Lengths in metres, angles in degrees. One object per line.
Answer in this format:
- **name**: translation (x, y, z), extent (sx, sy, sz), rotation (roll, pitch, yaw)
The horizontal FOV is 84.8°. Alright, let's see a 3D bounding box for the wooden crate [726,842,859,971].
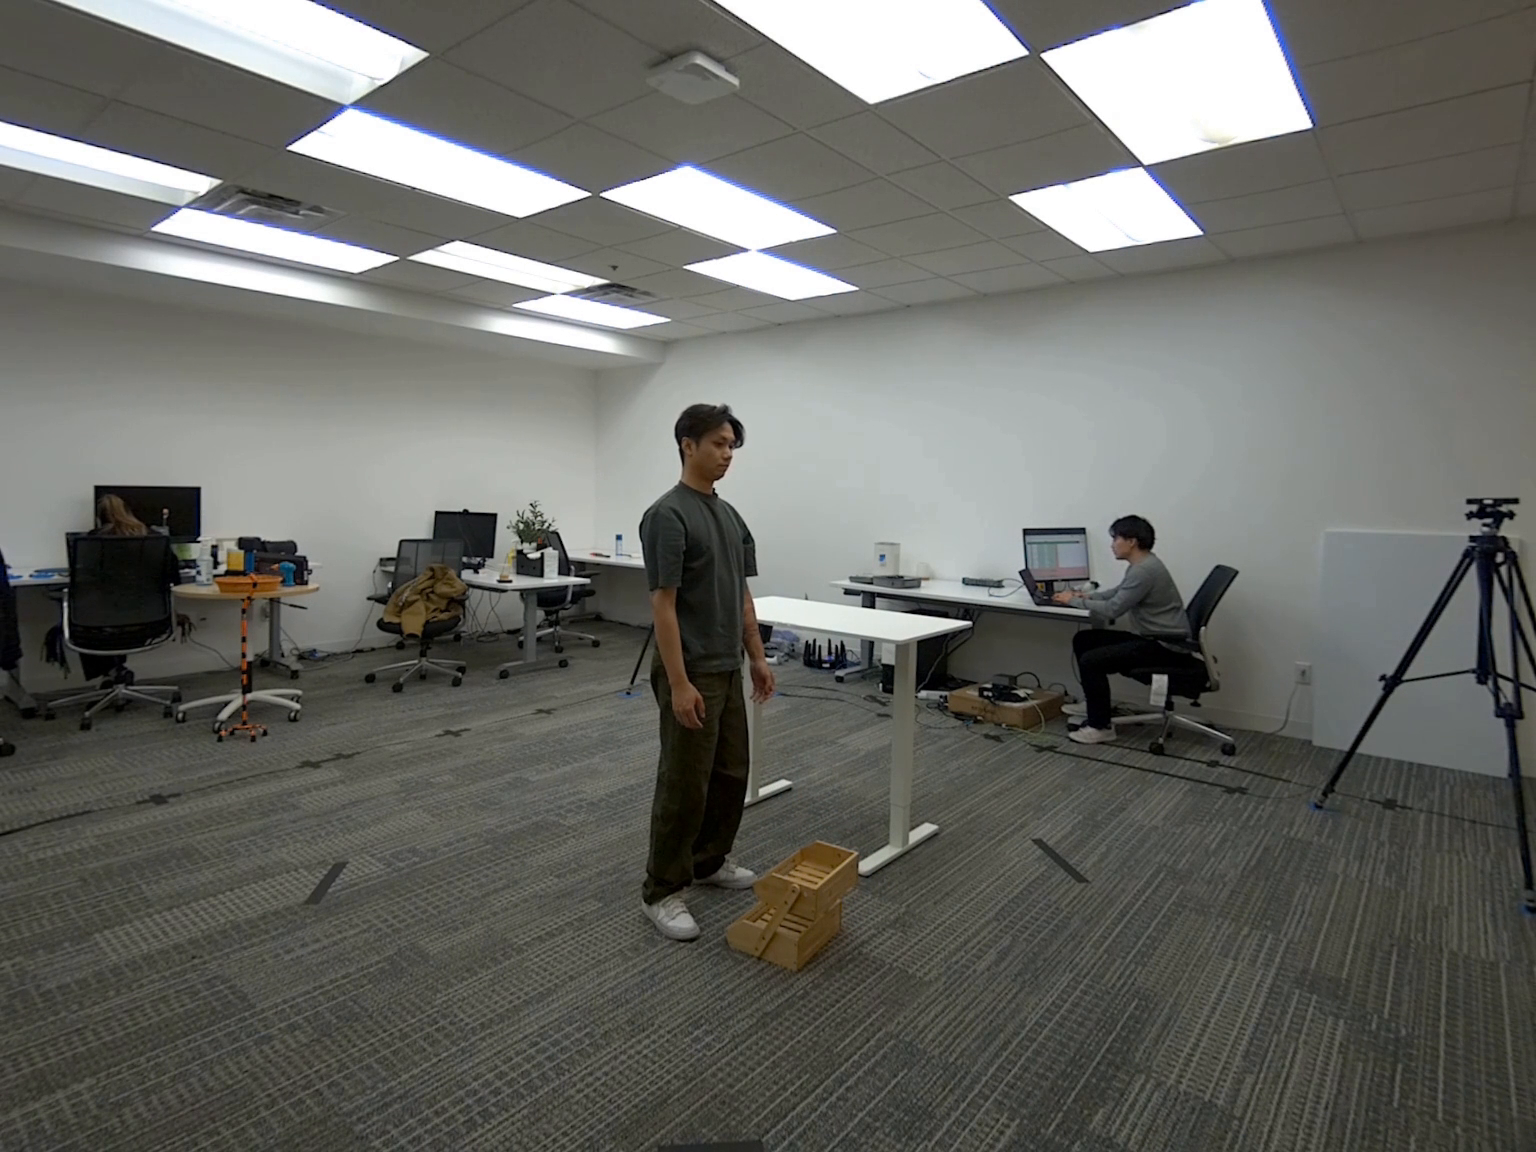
- **wooden crate**: translation (0.064, 0.980, 2.629), extent (0.311, 0.272, 0.316), rotation (6, 6, 31)
